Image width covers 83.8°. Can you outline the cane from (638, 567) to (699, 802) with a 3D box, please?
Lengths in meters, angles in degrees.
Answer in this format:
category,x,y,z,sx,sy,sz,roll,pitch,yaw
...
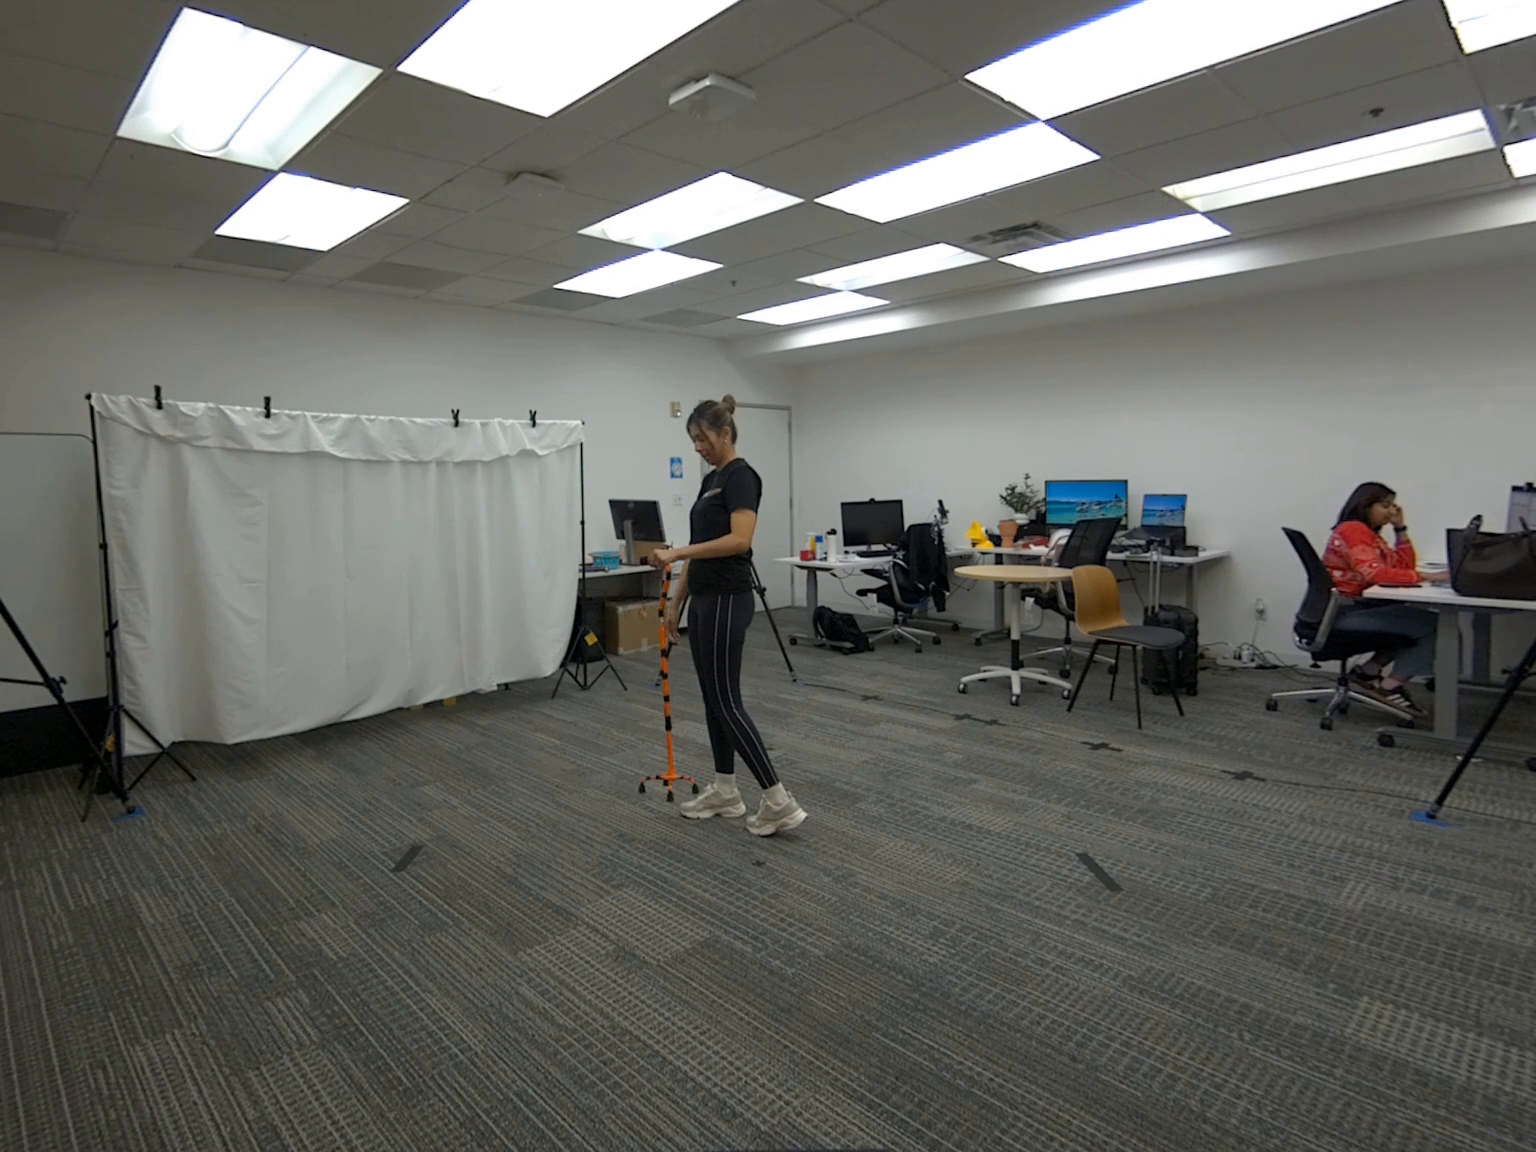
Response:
category,x,y,z,sx,sy,sz,roll,pitch,yaw
cane,-0.403,0.384,3.292,0.147,0.908,0.212,-3,0,-42
